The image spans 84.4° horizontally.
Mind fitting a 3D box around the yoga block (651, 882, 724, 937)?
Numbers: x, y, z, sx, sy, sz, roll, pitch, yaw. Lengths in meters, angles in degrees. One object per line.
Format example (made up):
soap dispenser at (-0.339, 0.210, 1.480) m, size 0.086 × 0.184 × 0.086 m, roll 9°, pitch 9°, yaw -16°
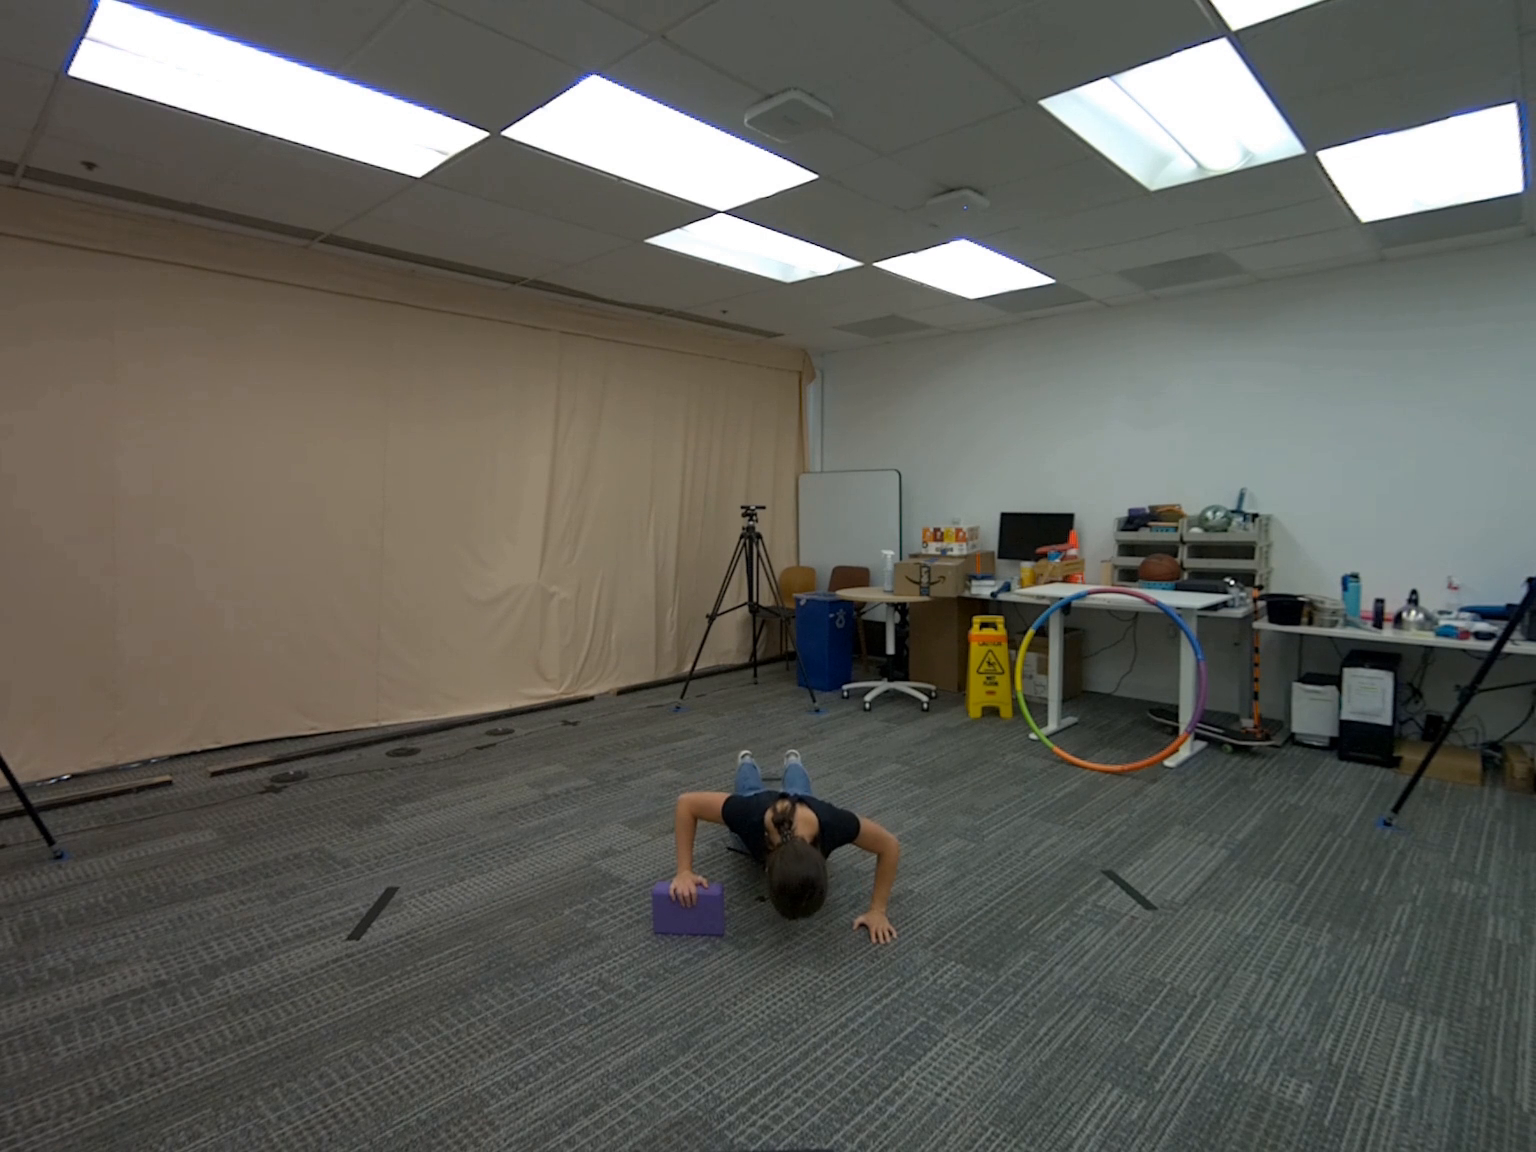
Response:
yoga block at (-0.251, 1.098, 2.767) m, size 0.231 × 0.149 × 0.076 m, roll 2°, pitch 2°, yaw 5°
